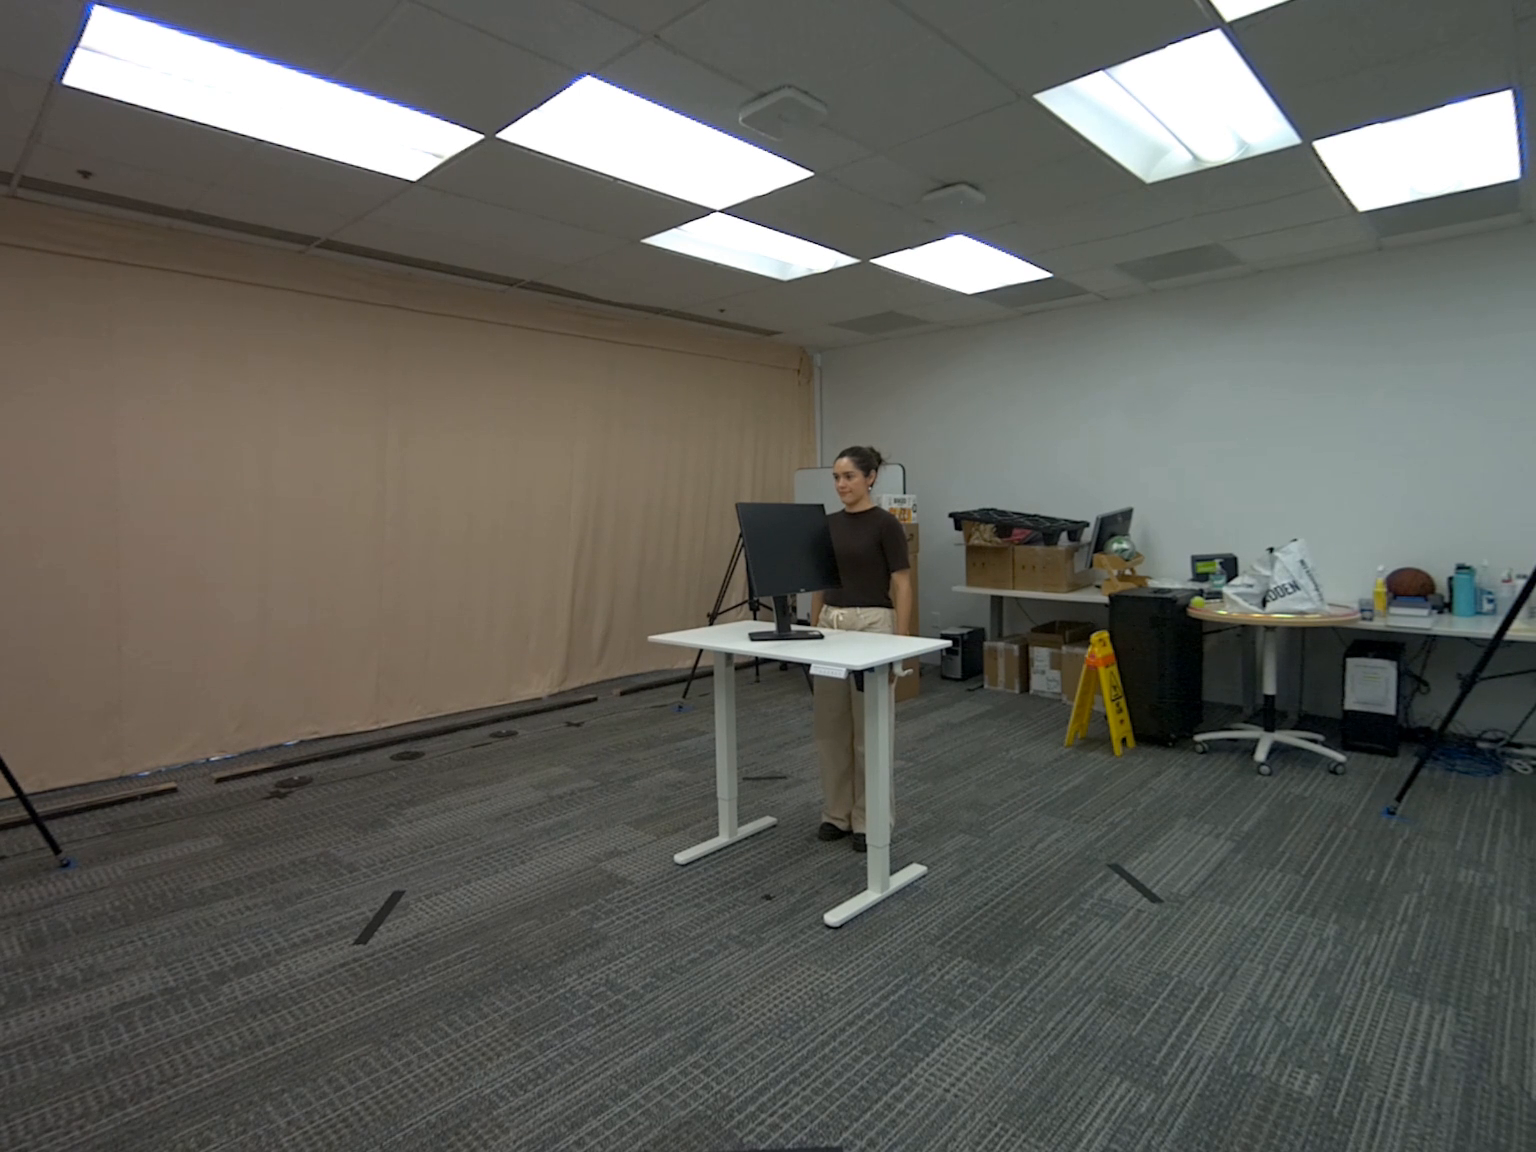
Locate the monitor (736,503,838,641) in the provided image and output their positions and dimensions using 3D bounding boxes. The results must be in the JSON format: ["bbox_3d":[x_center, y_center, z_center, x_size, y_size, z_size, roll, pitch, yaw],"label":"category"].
[{"bbox_3d":[0.079,-0.018,3.237,0.193,0.522,0.523,2,3,36],"label":"monitor"}]
